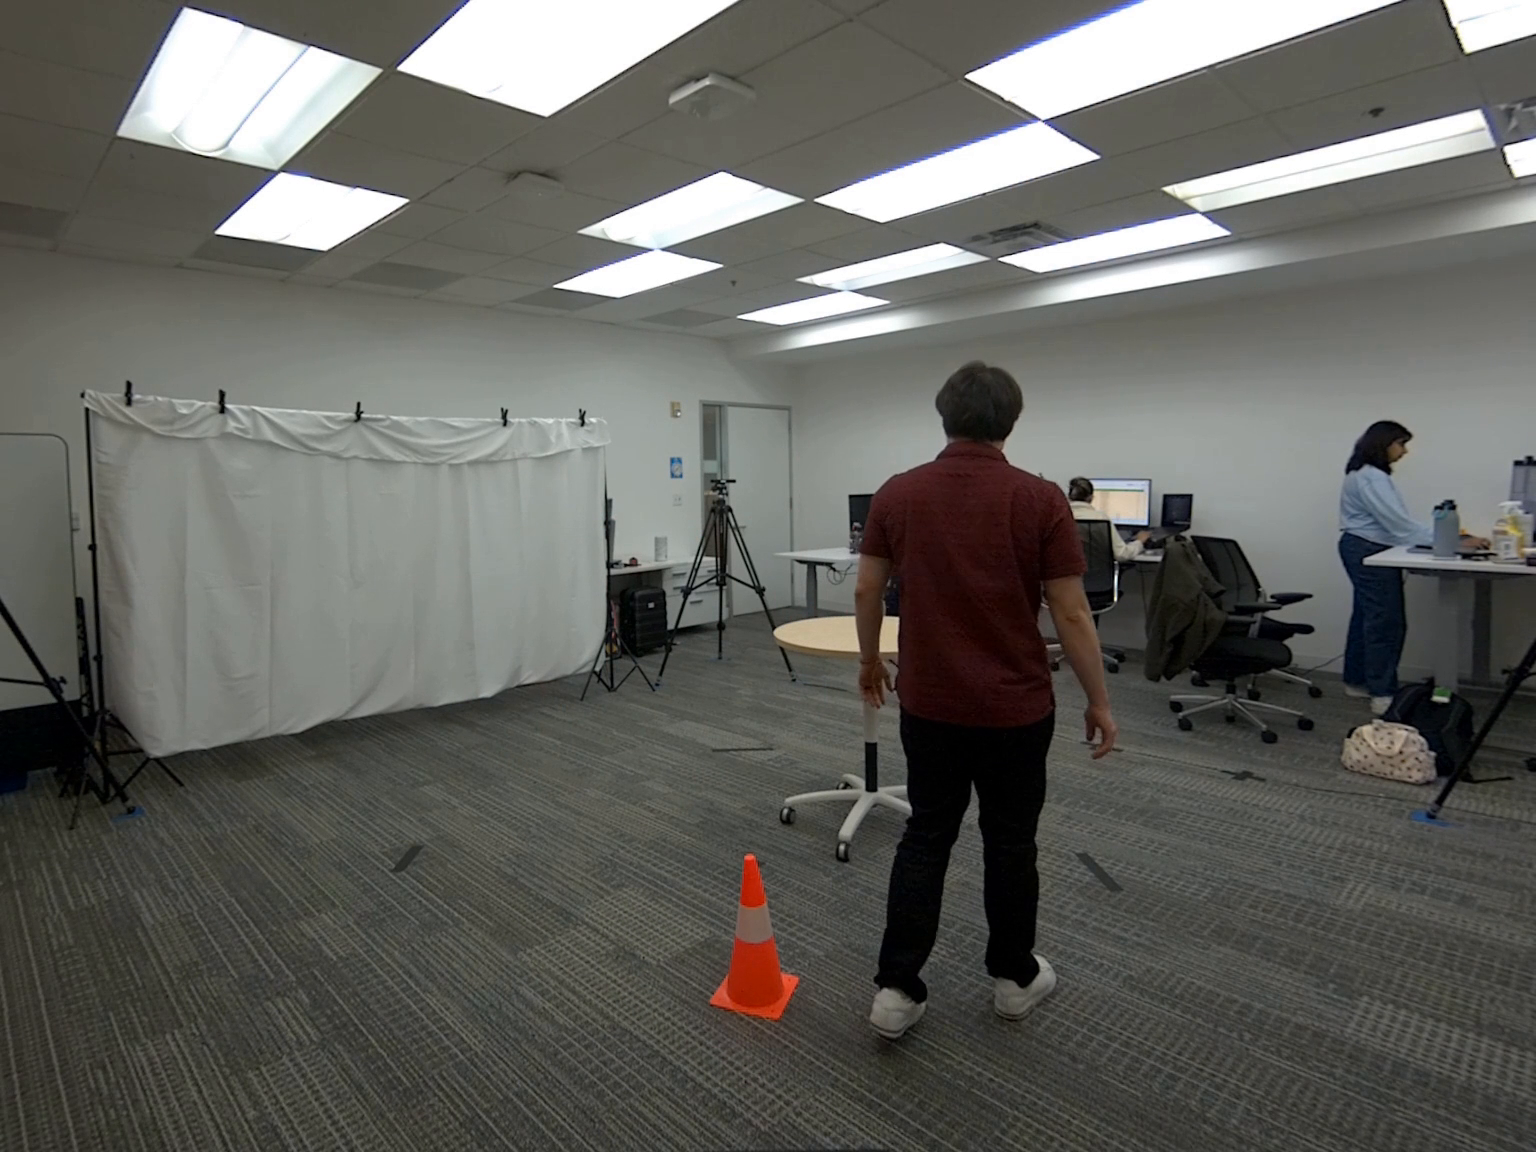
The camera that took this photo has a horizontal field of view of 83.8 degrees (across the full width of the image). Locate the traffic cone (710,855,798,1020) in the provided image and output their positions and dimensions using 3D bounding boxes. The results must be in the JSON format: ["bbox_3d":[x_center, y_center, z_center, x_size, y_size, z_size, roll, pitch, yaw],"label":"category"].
[{"bbox_3d":[-0.032,0.956,2.318,0.209,0.382,0.200,0,5,21],"label":"traffic cone"}]
